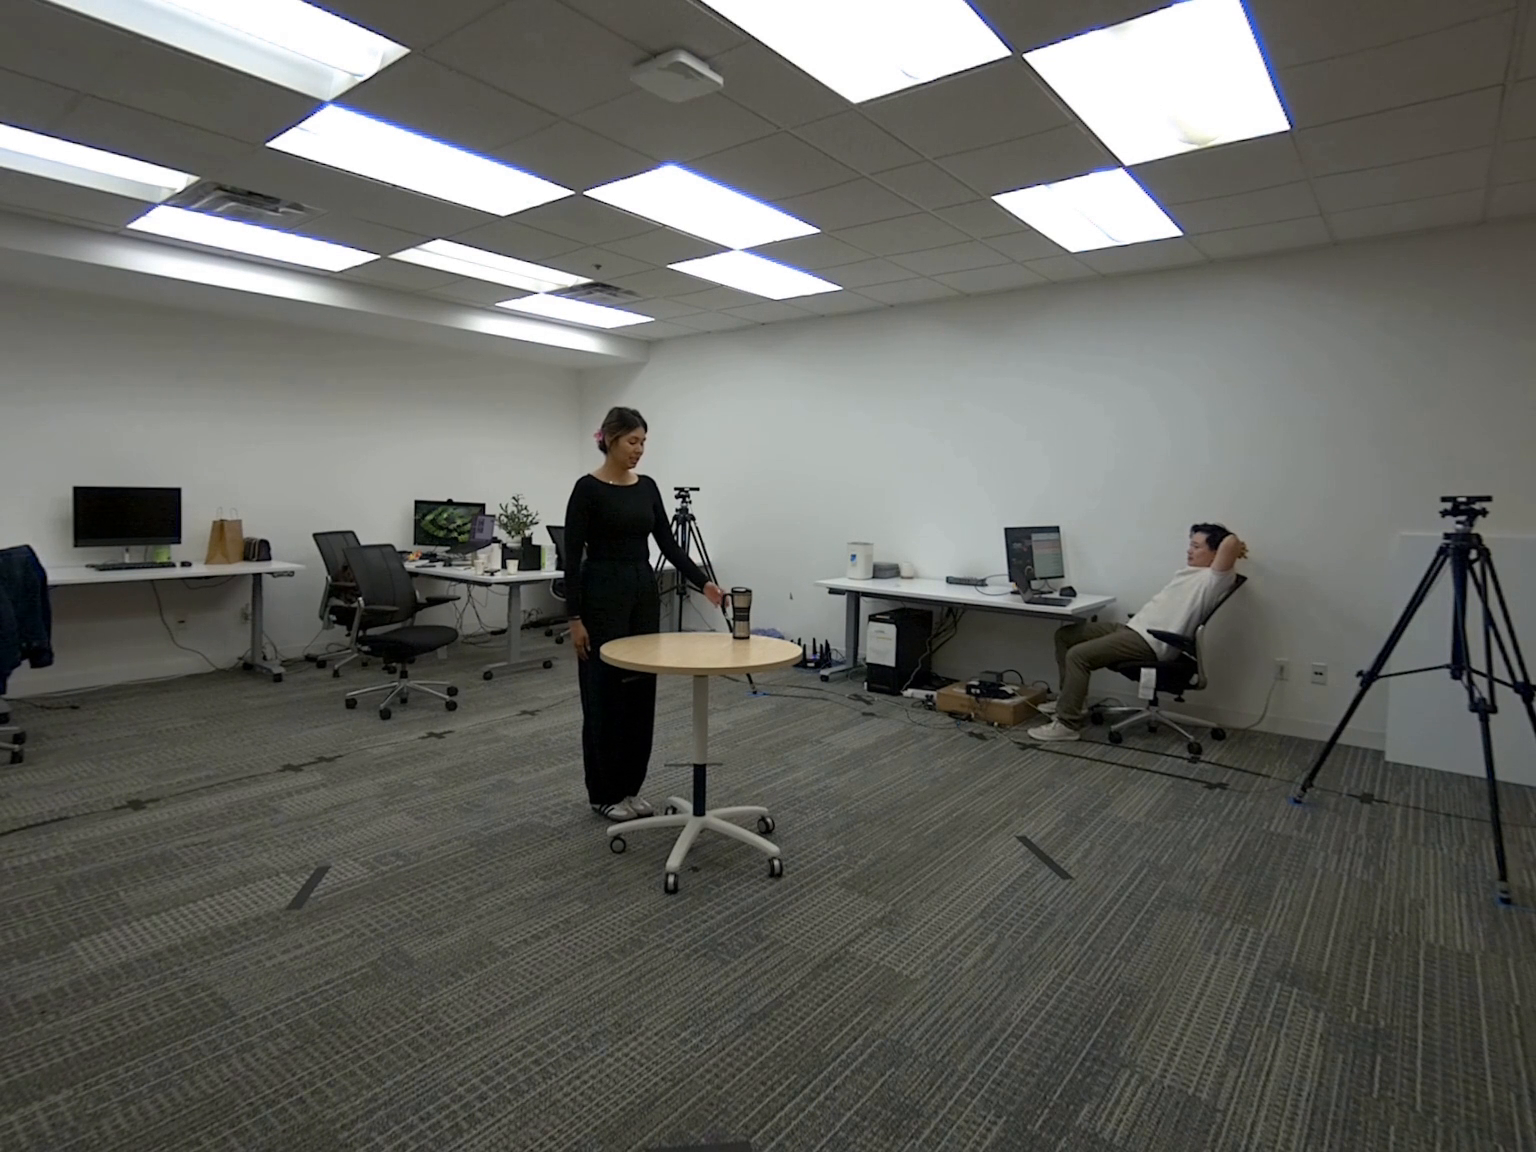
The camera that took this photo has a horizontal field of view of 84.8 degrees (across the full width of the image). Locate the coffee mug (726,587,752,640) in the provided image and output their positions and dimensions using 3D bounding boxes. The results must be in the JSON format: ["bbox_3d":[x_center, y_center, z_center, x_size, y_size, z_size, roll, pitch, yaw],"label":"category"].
[{"bbox_3d":[-0.133,0.150,3.480,0.126,0.202,0.085,6,9,36],"label":"coffee mug"}]
